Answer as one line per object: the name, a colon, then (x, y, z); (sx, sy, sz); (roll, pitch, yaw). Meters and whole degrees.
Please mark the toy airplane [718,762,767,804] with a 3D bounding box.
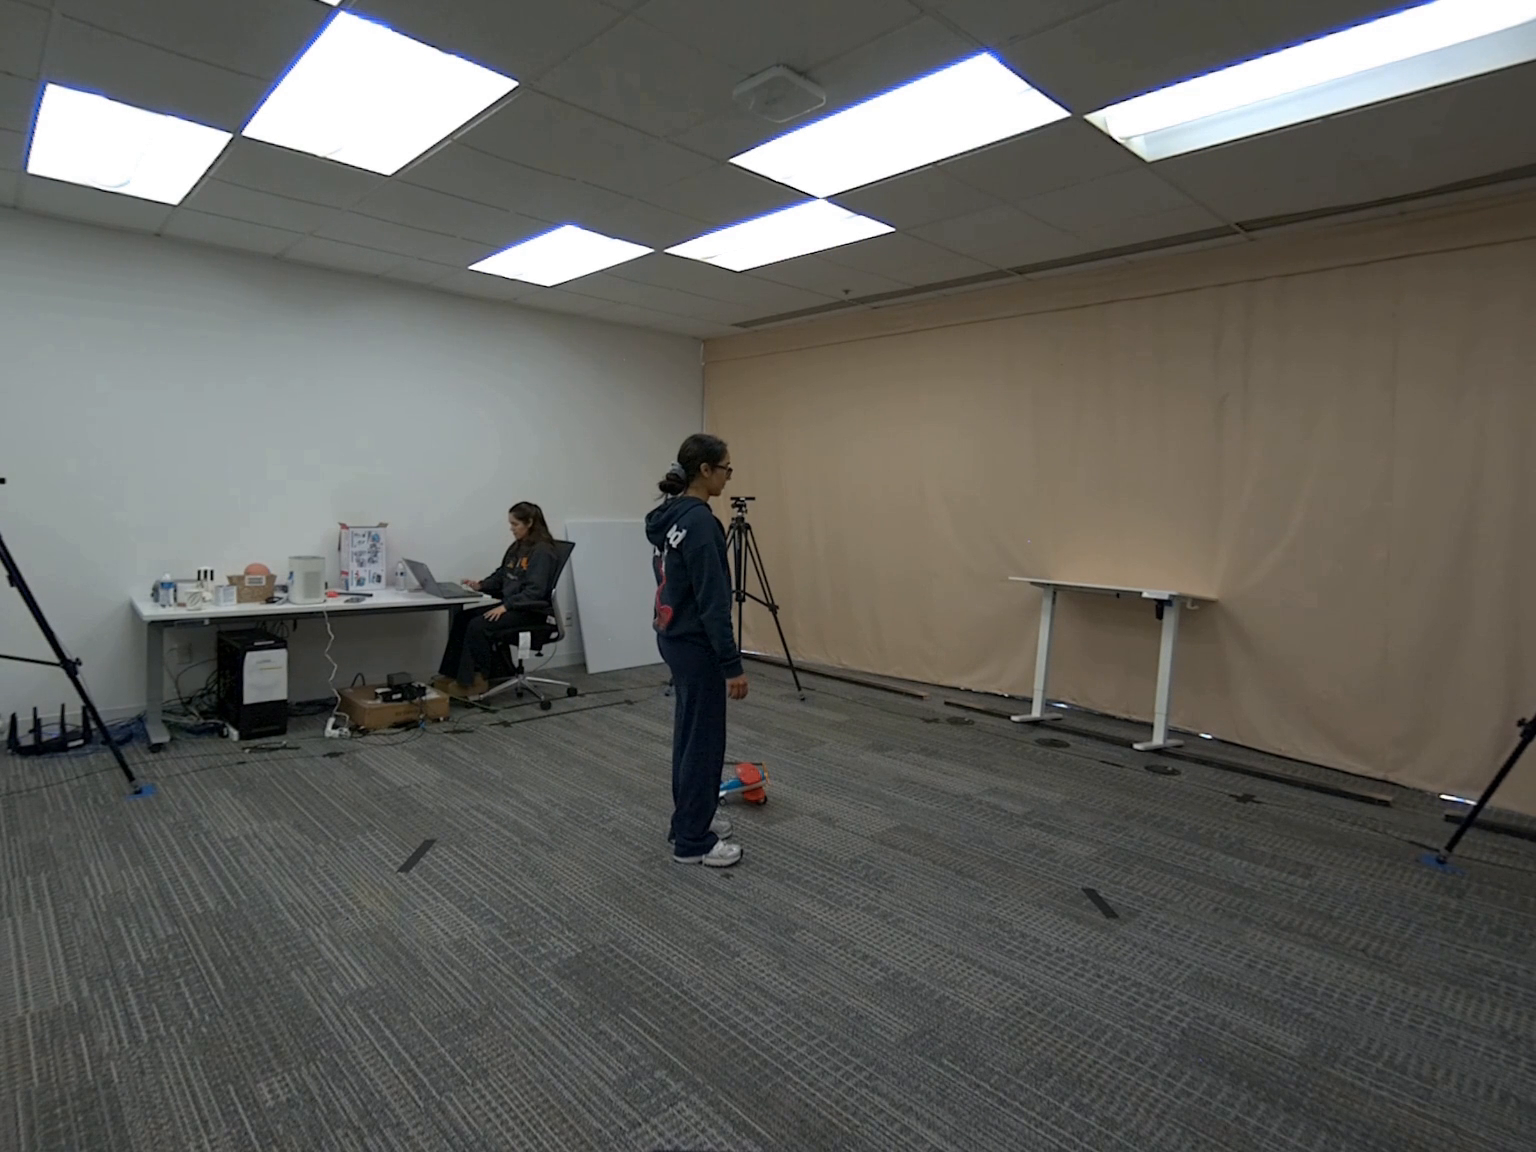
toy airplane: (-0.128, 0.966, 3.851); (0.253, 0.156, 0.257); (0, 4, -43)
